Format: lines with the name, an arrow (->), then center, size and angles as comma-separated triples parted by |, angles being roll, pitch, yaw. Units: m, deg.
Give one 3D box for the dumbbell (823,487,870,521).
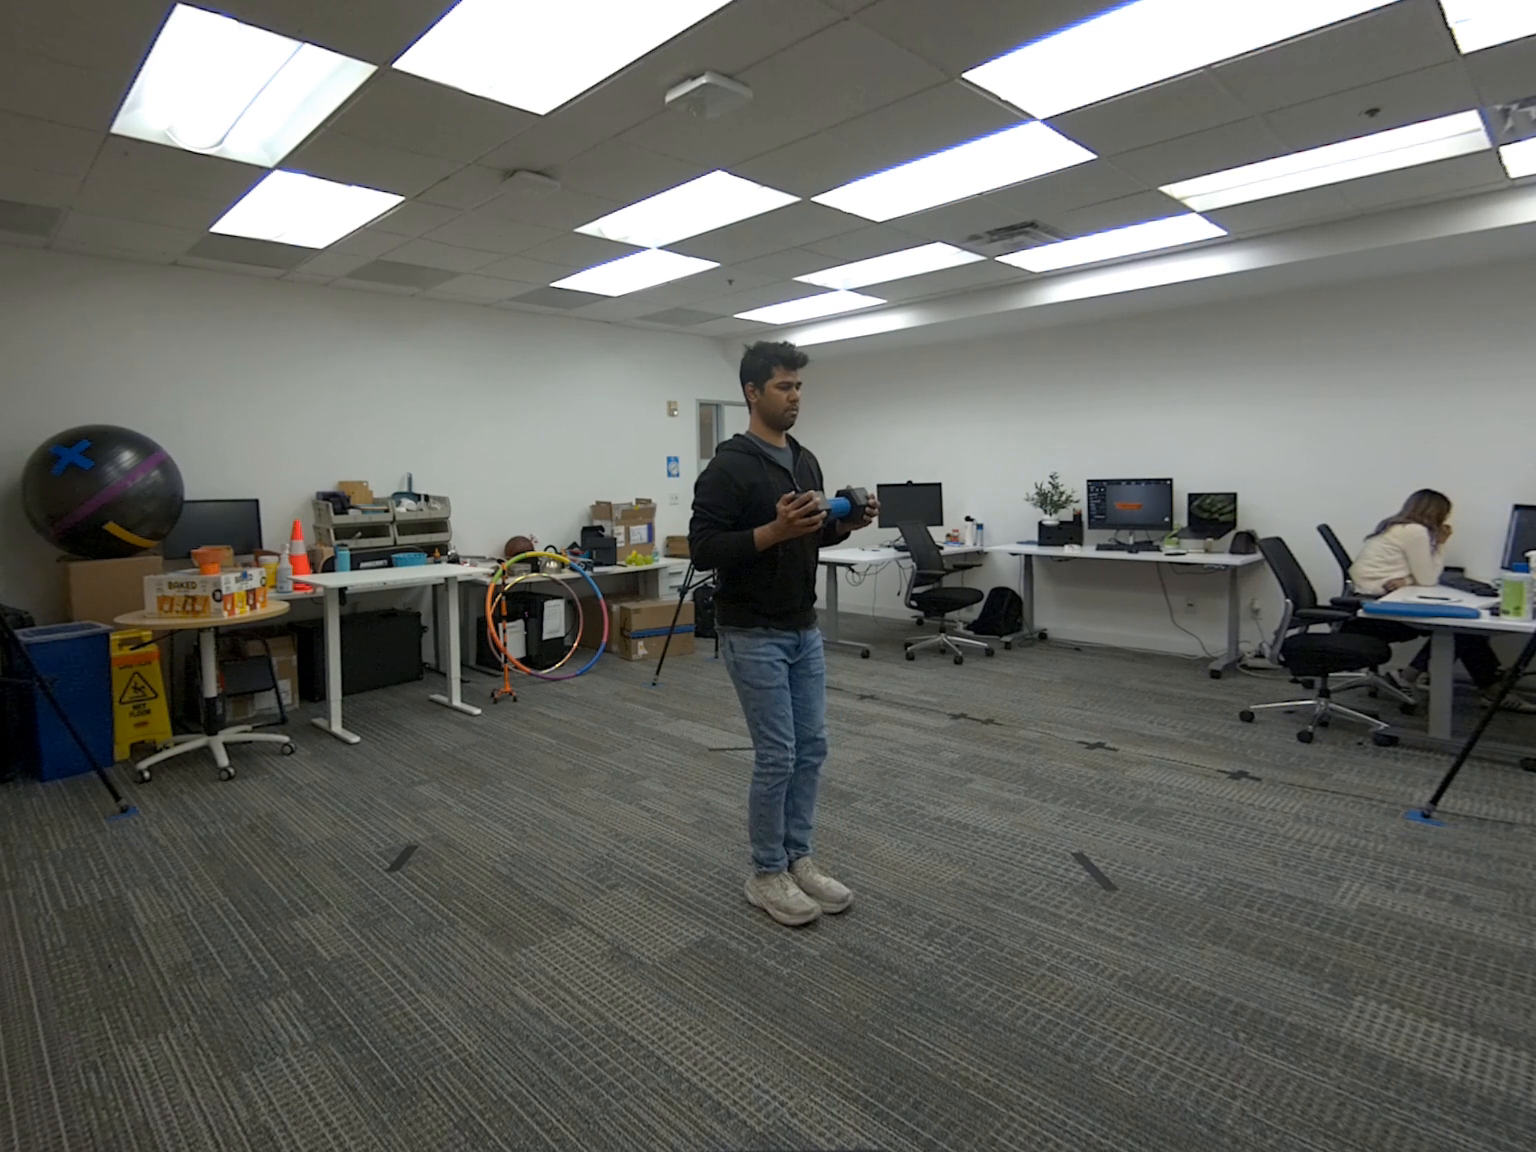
dumbbell -> 0.179, -0.203, 2.605 | 0.286, 0.121, 0.113 | -11, 35, -43
